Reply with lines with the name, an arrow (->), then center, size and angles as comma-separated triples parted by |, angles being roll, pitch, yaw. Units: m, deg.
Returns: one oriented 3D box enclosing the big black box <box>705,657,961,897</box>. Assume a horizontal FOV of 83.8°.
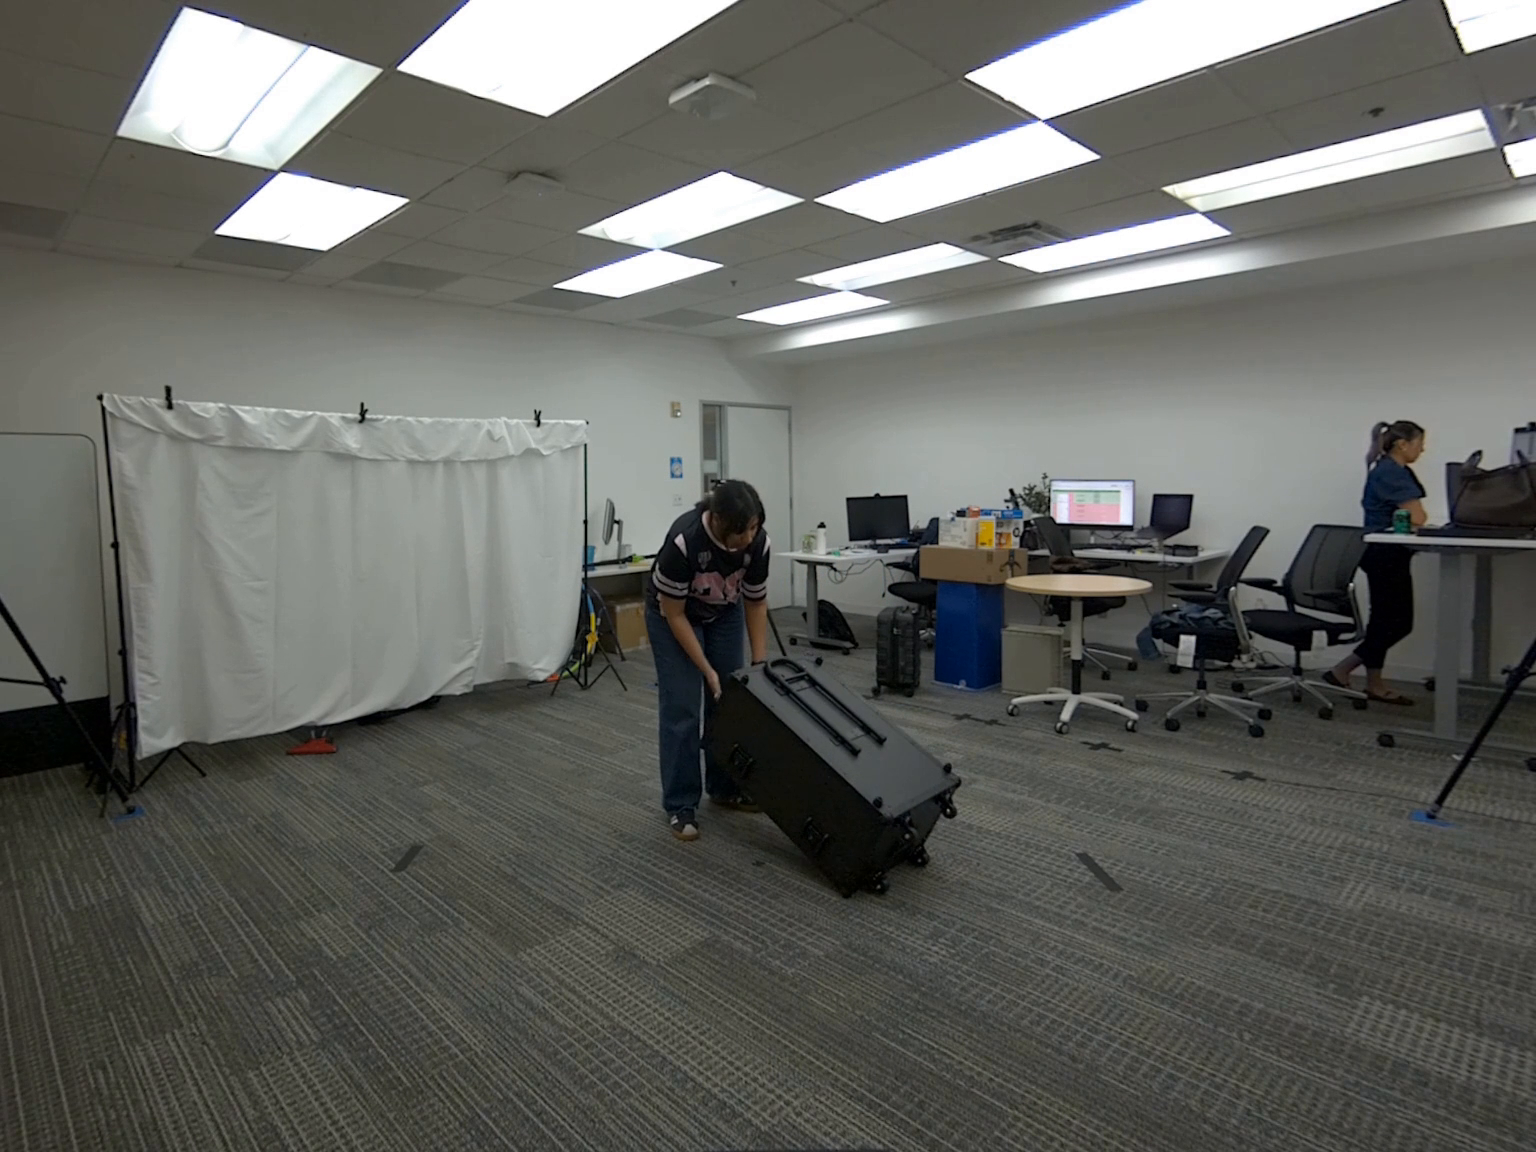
big black box -> 0.248, 0.703, 3.142 | 0.509, 0.381, 0.901 | -5, 35, -48
